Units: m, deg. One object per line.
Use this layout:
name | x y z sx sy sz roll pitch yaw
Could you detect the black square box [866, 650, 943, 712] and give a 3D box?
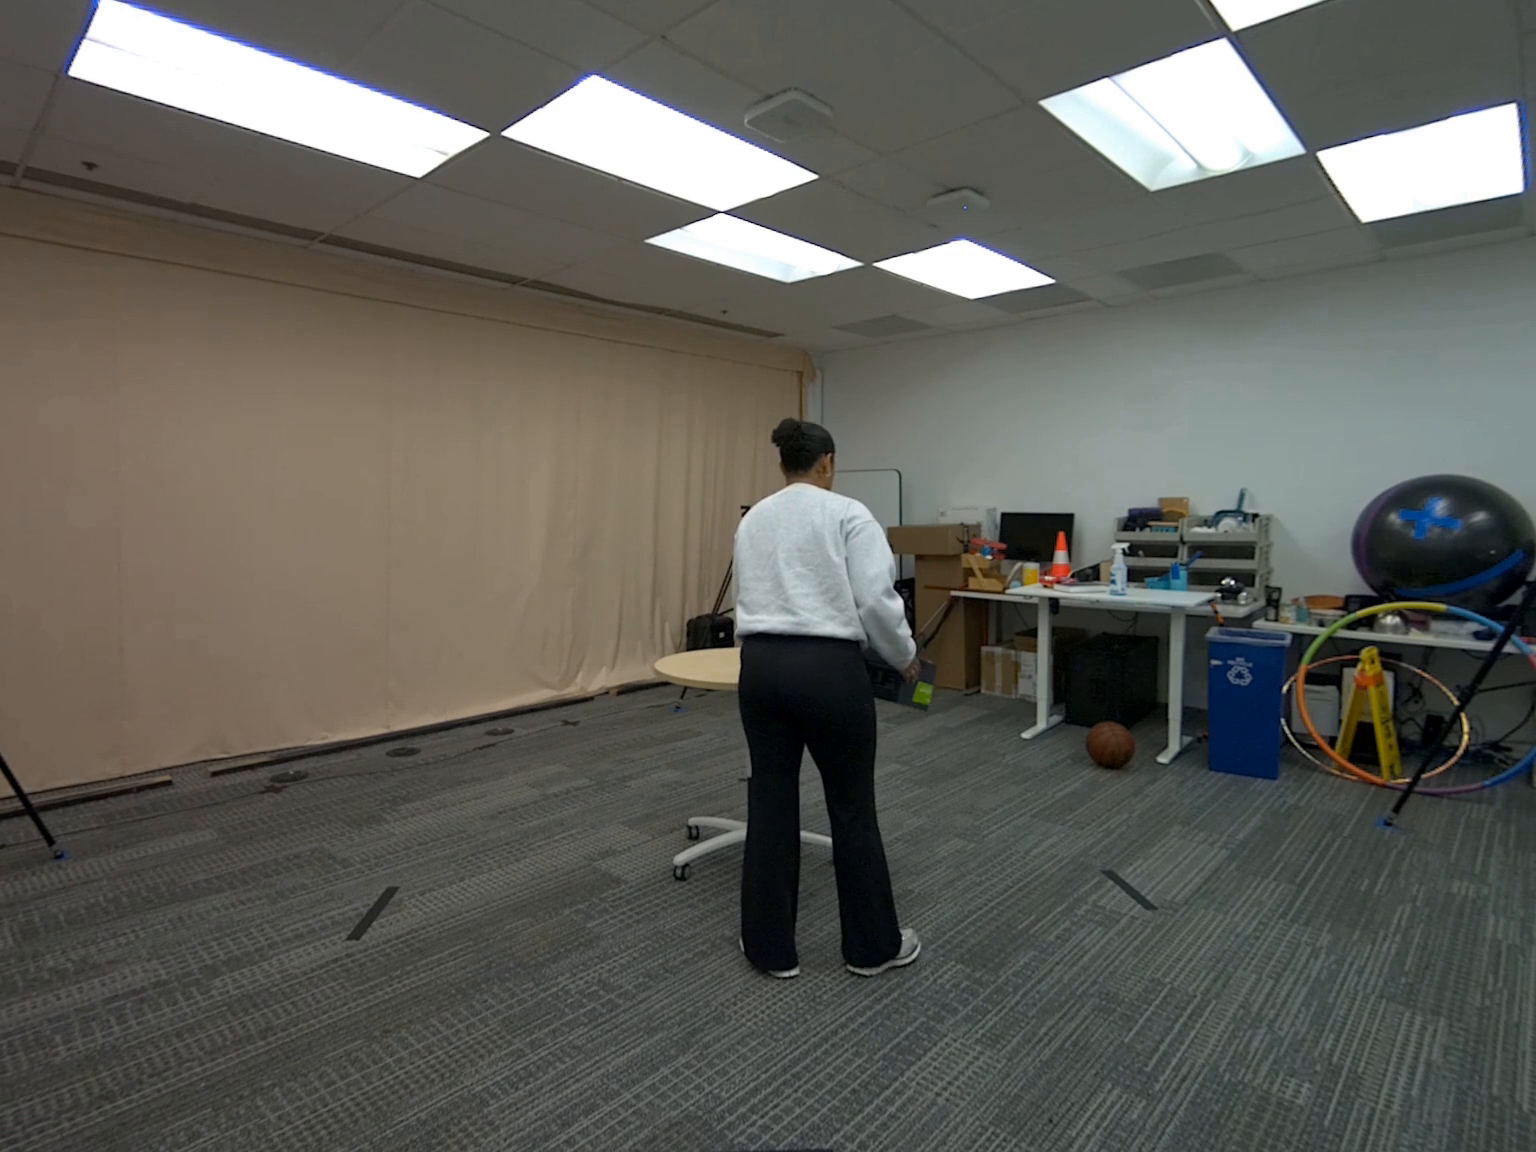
black square box | 0.407 0.325 2.742 0.224 0.156 0.220 8 -9 34
